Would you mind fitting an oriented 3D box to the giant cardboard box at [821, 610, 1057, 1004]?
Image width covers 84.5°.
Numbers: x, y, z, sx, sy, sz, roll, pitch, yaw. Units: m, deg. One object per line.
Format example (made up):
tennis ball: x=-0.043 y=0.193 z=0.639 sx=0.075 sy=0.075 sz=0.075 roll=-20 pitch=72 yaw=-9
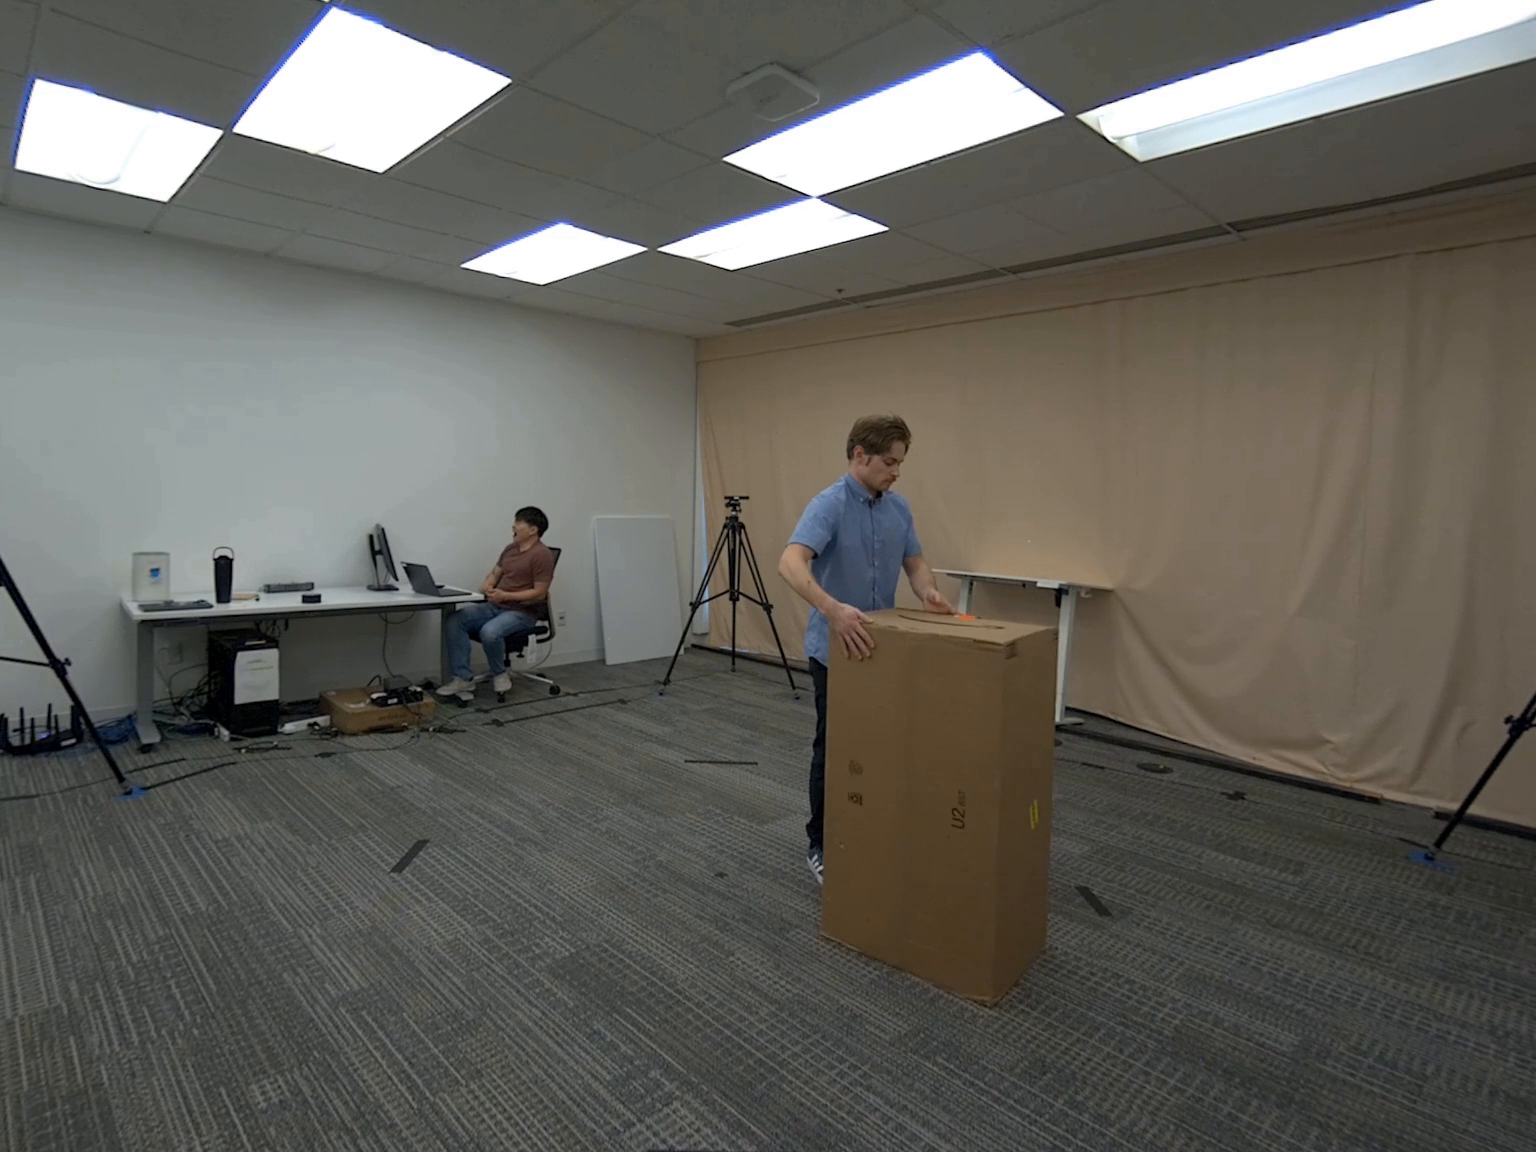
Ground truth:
giant cardboard box: x=0.533 y=0.659 z=2.634 sx=0.592 sy=1.023 sz=0.417 roll=4 pitch=5 yaw=39
